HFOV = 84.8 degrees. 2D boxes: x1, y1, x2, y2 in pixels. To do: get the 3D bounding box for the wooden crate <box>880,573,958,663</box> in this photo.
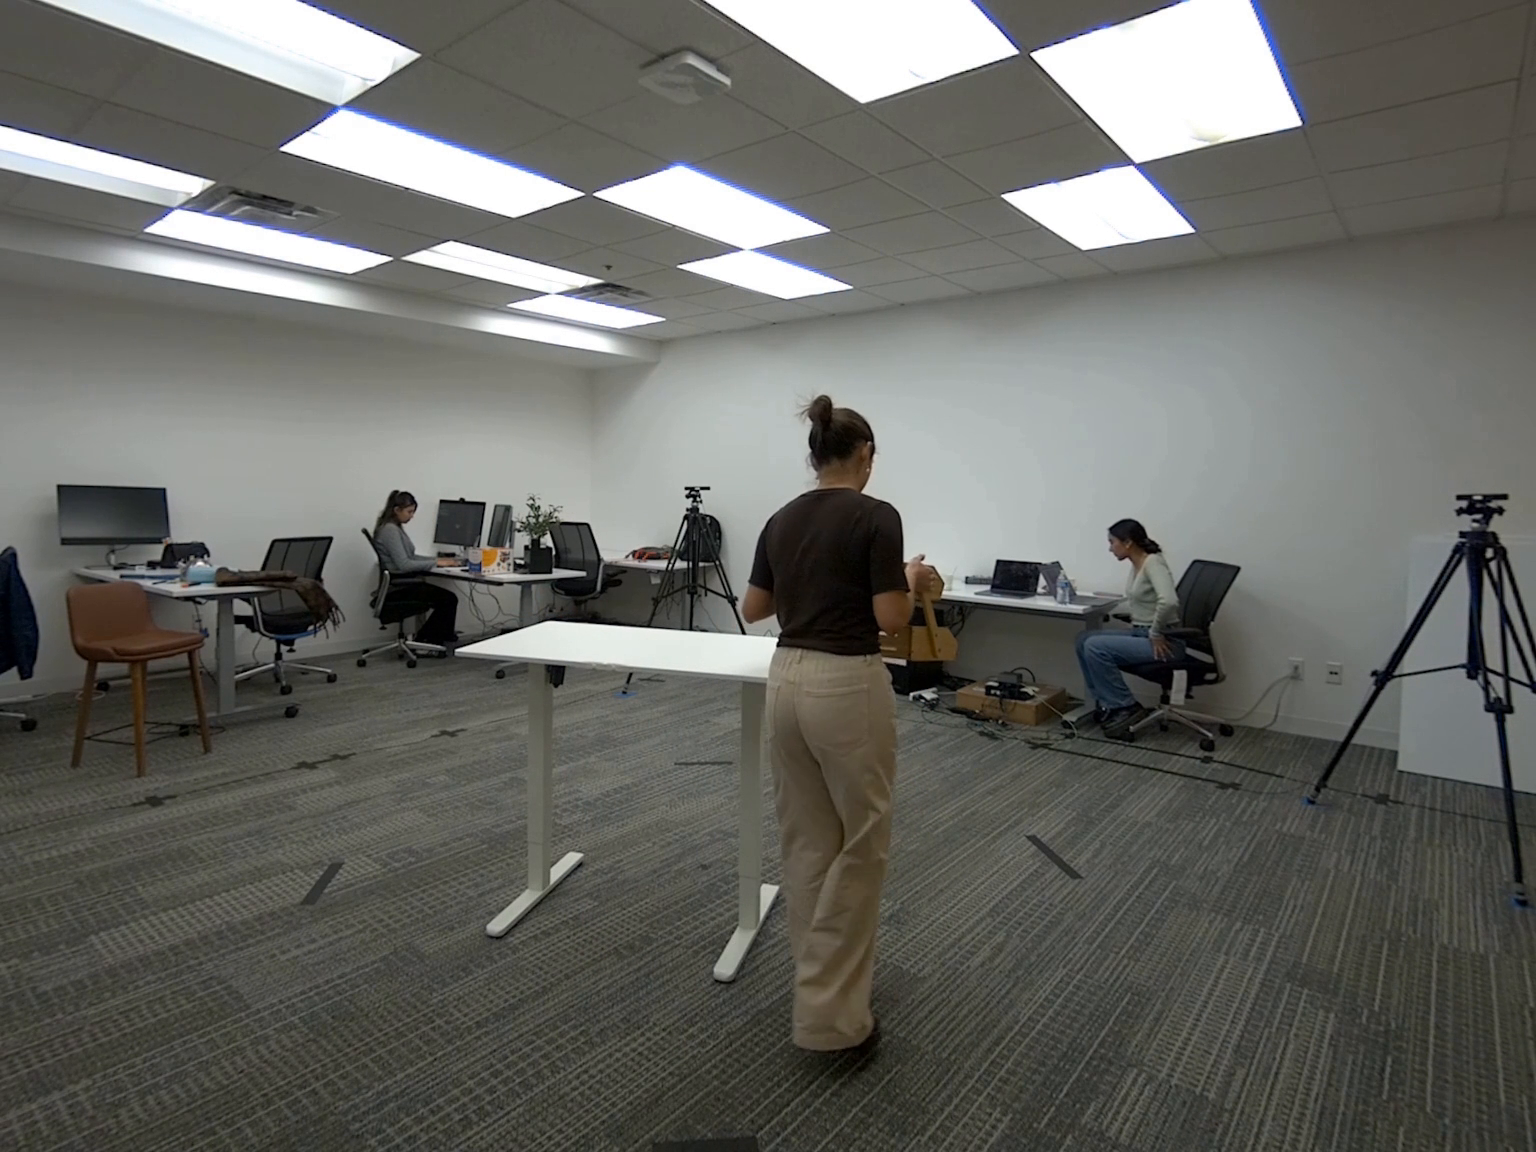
[{"bbox_3d":[0.332,0.094,2.444,0.335,0.274,0.292,1,-3,42],"label":"wooden crate"}]
